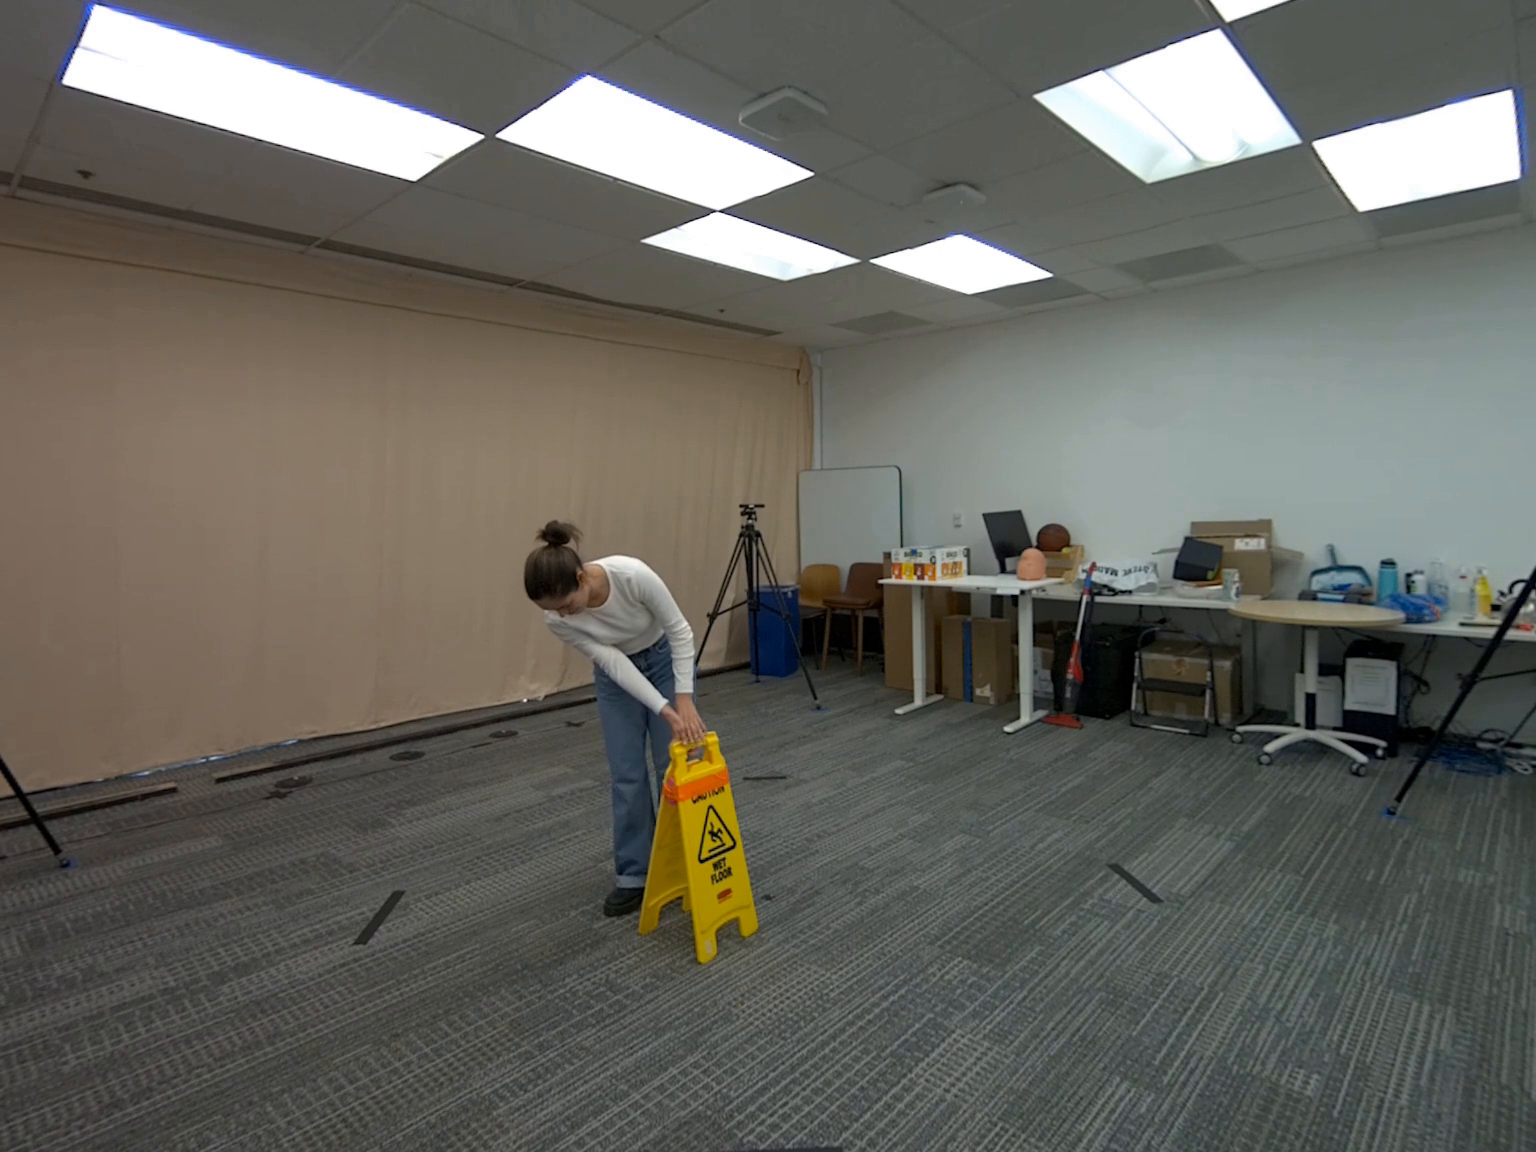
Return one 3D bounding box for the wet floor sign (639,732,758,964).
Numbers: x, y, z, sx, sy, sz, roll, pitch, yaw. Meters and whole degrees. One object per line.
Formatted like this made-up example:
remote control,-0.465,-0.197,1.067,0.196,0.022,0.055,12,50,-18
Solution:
wet floor sign,-0.231,0.841,2.731,0.299,0.645,0.274,1,4,41
